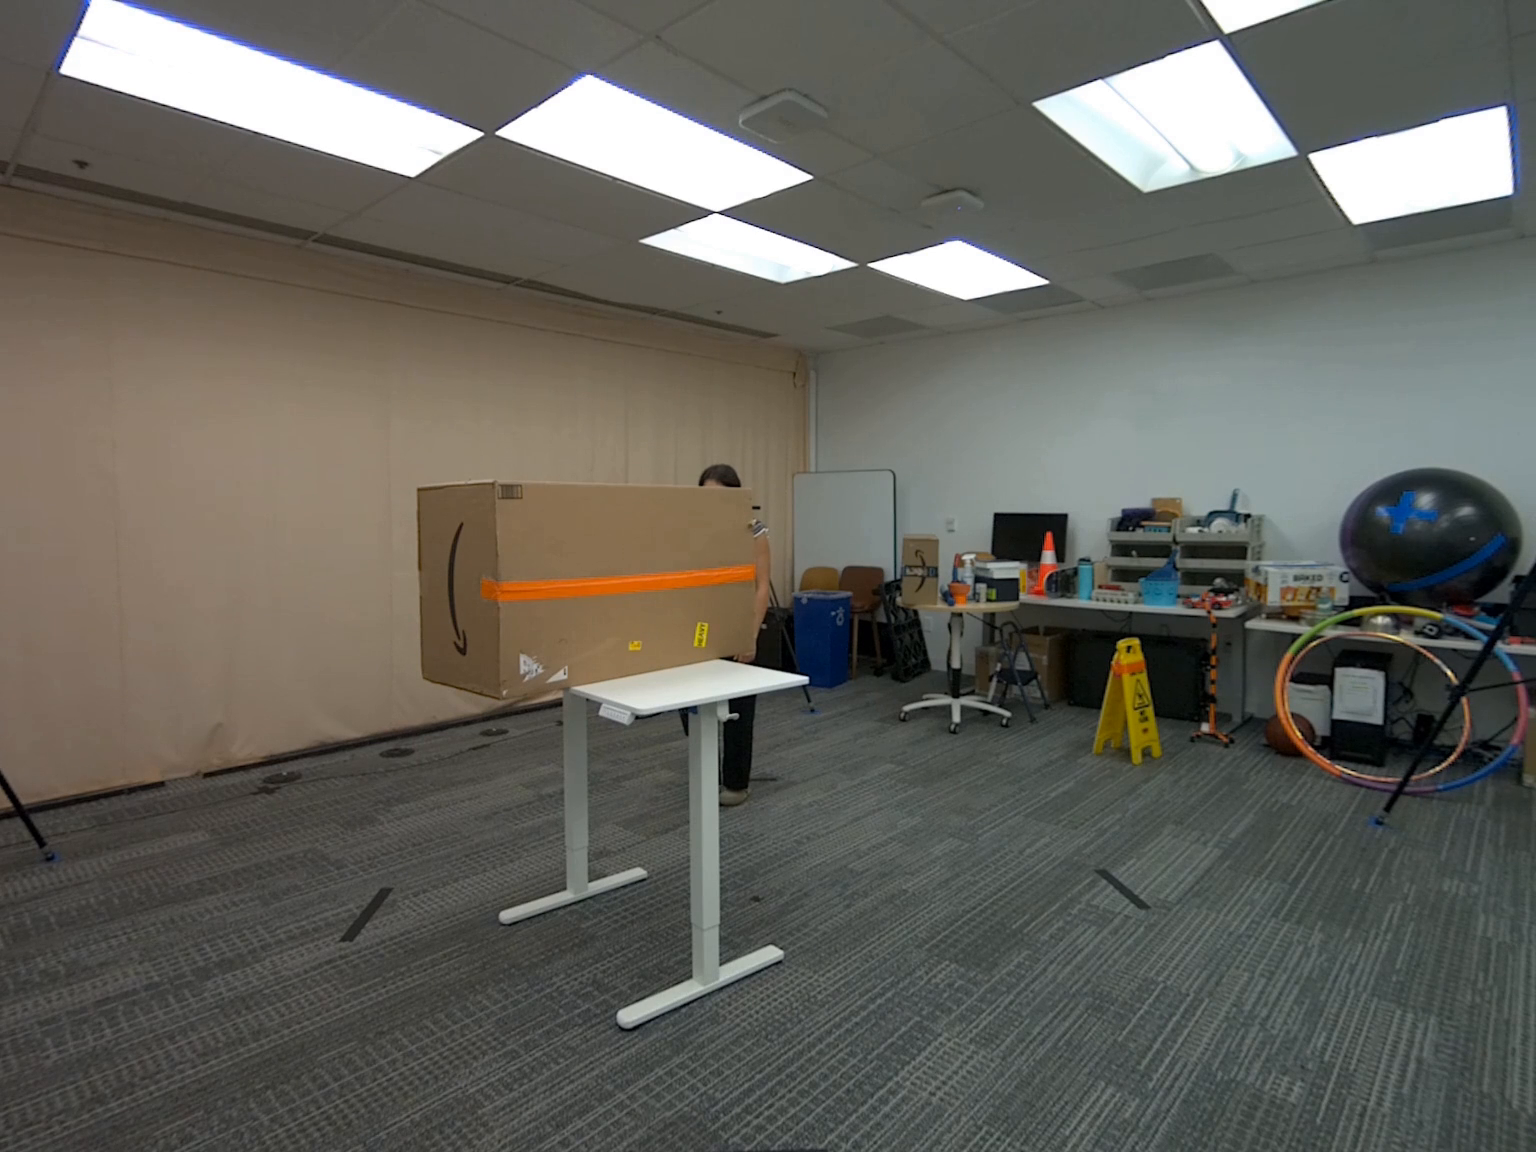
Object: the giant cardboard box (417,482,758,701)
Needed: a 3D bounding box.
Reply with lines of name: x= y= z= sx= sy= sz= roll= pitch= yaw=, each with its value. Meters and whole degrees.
giant cardboard box: x=-0.536 y=0.002 z=2.697 sx=0.440 sy=0.576 sz=0.994 roll=3 pitch=5 yaw=42
